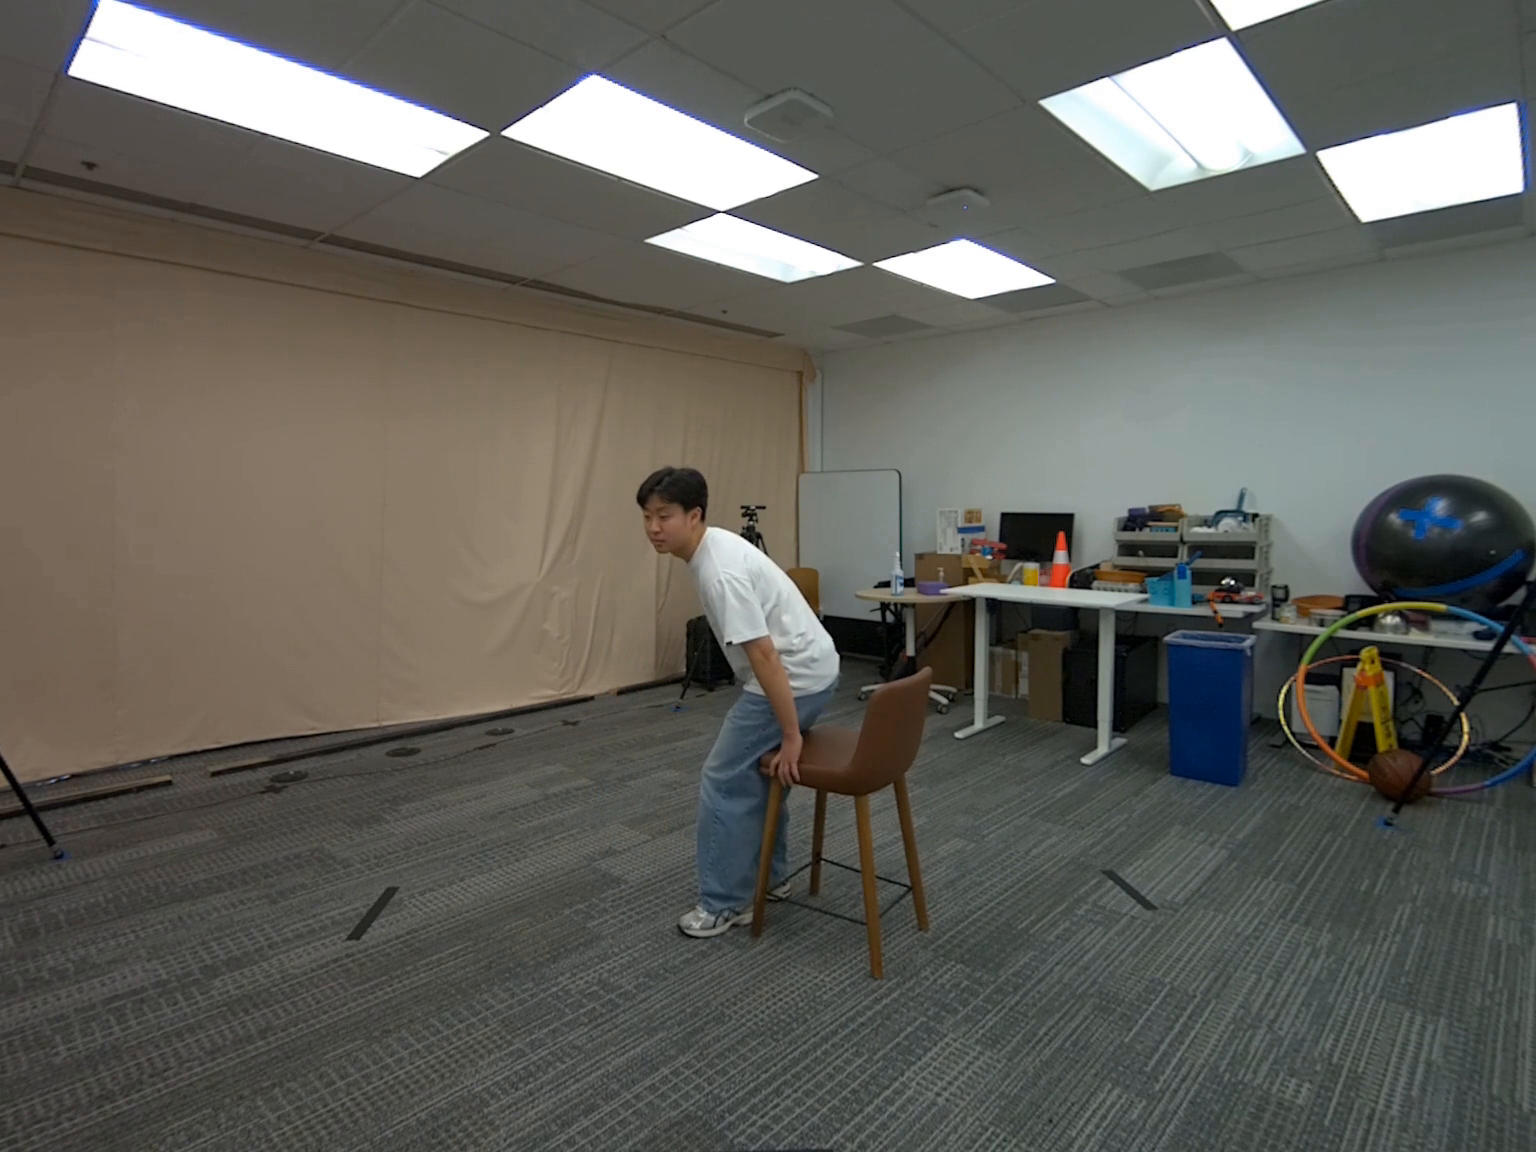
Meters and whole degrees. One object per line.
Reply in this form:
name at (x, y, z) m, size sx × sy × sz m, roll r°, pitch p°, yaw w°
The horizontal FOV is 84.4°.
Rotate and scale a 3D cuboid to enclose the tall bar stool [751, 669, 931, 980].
tall bar stool at (0.257, 0.732, 2.717) m, size 0.482 × 0.887 × 0.443 m, roll 4°, pitch 5°, yaw 35°
